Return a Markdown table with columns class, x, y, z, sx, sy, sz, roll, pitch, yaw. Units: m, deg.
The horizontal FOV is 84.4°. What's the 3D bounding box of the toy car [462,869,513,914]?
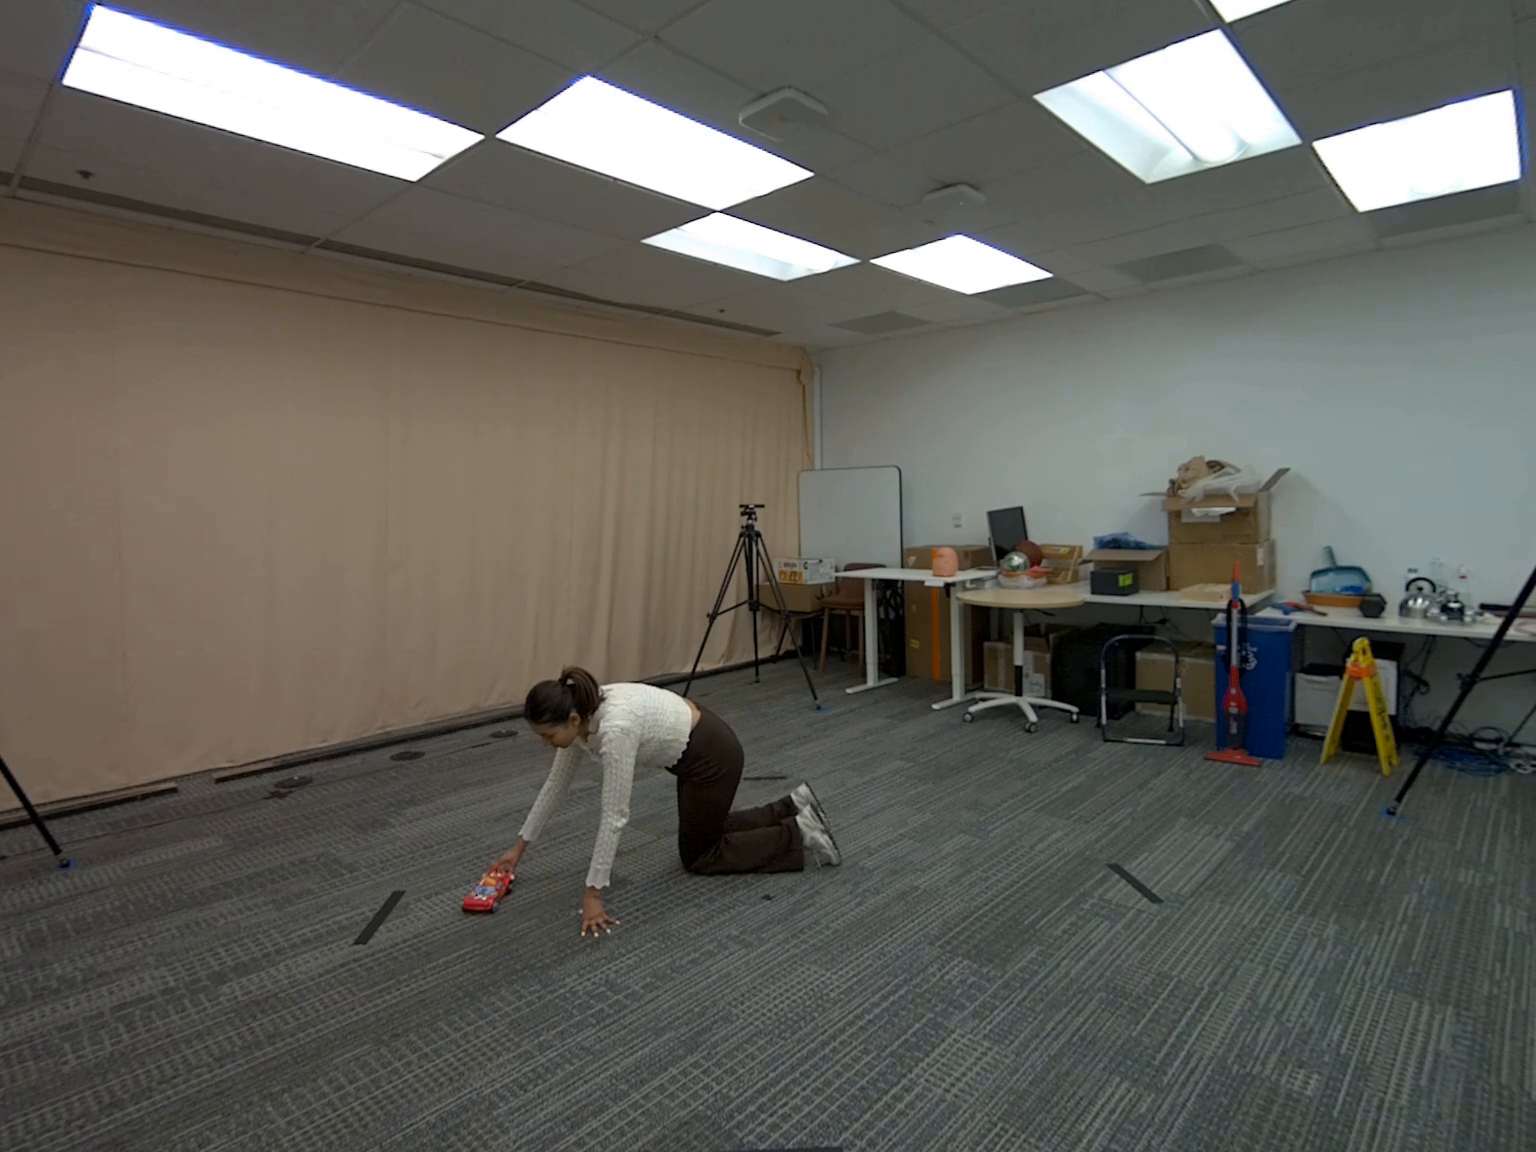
| class | x | y | z | sx | sy | sz | roll | pitch | yaw |
| --- | --- | --- | --- | --- | --- | --- | --- | --- | --- |
| toy car | -0.998 | 1.129 | 3.018 | 0.131 | 0.082 | 0.255 | -1 | 15 | 5 |
